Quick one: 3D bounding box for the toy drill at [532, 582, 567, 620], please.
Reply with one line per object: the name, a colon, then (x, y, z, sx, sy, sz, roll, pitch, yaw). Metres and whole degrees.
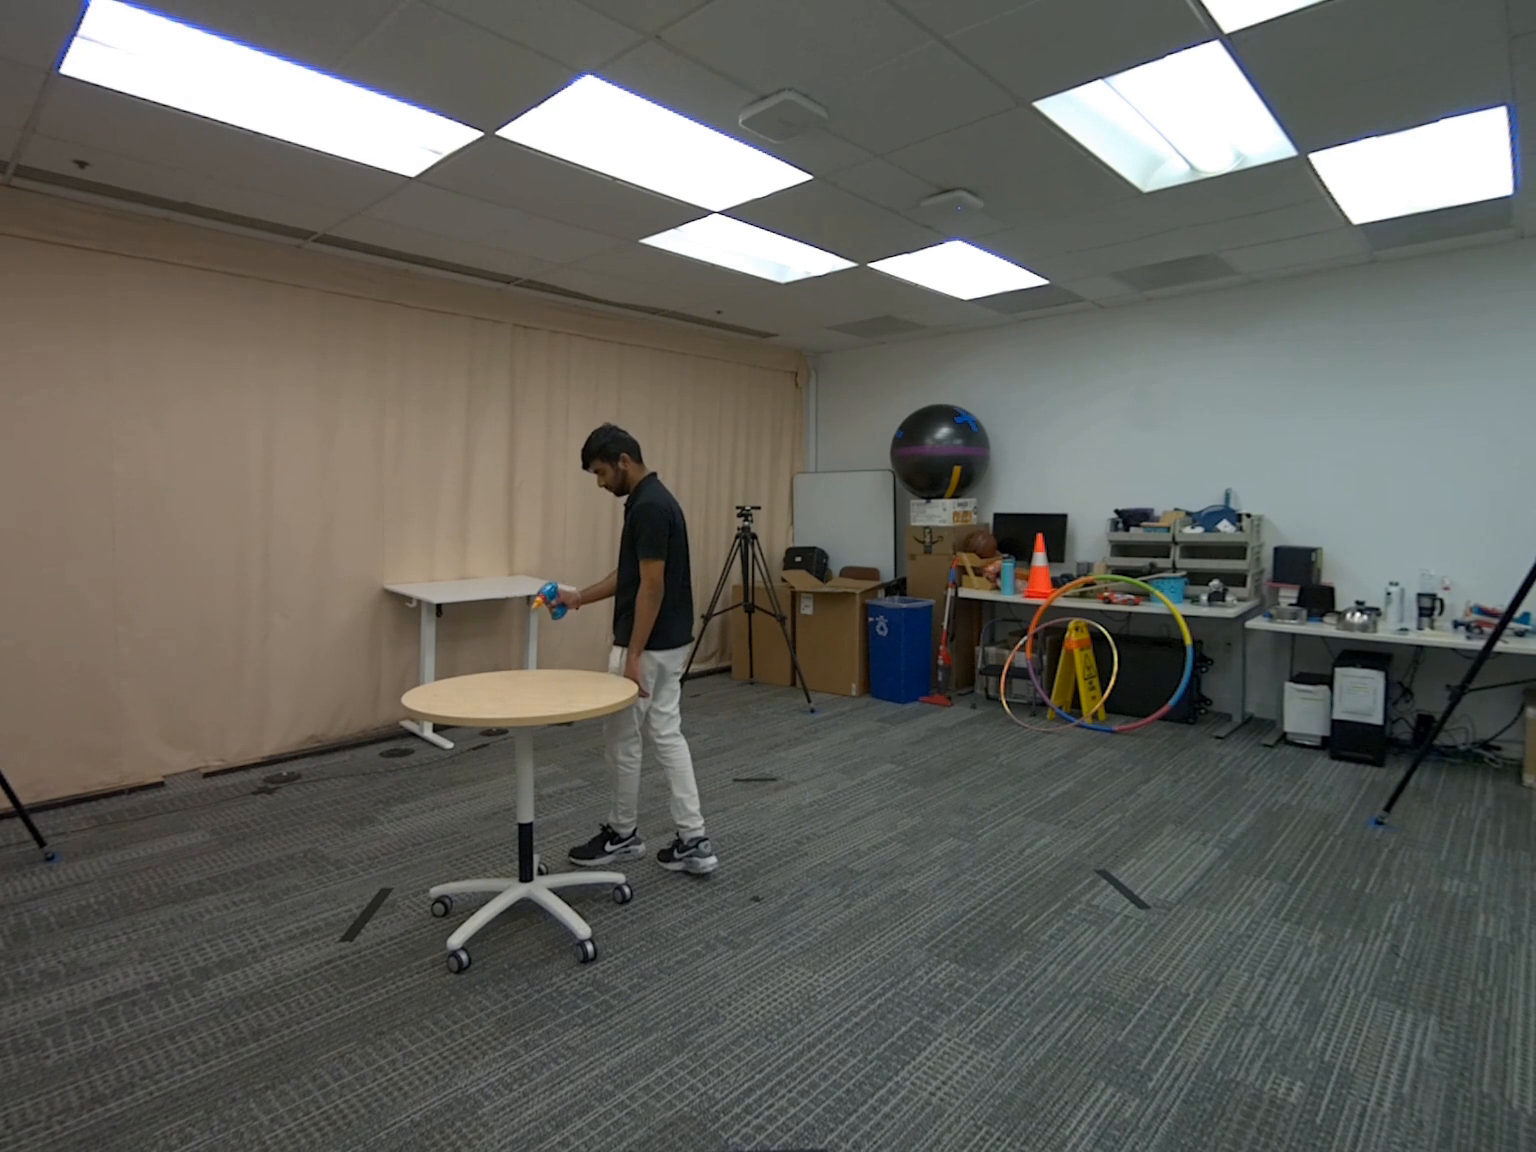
toy drill: (-0.834, 0.111, 3.229, 0.062, 0.143, 0.169, -12, 26, 26)
